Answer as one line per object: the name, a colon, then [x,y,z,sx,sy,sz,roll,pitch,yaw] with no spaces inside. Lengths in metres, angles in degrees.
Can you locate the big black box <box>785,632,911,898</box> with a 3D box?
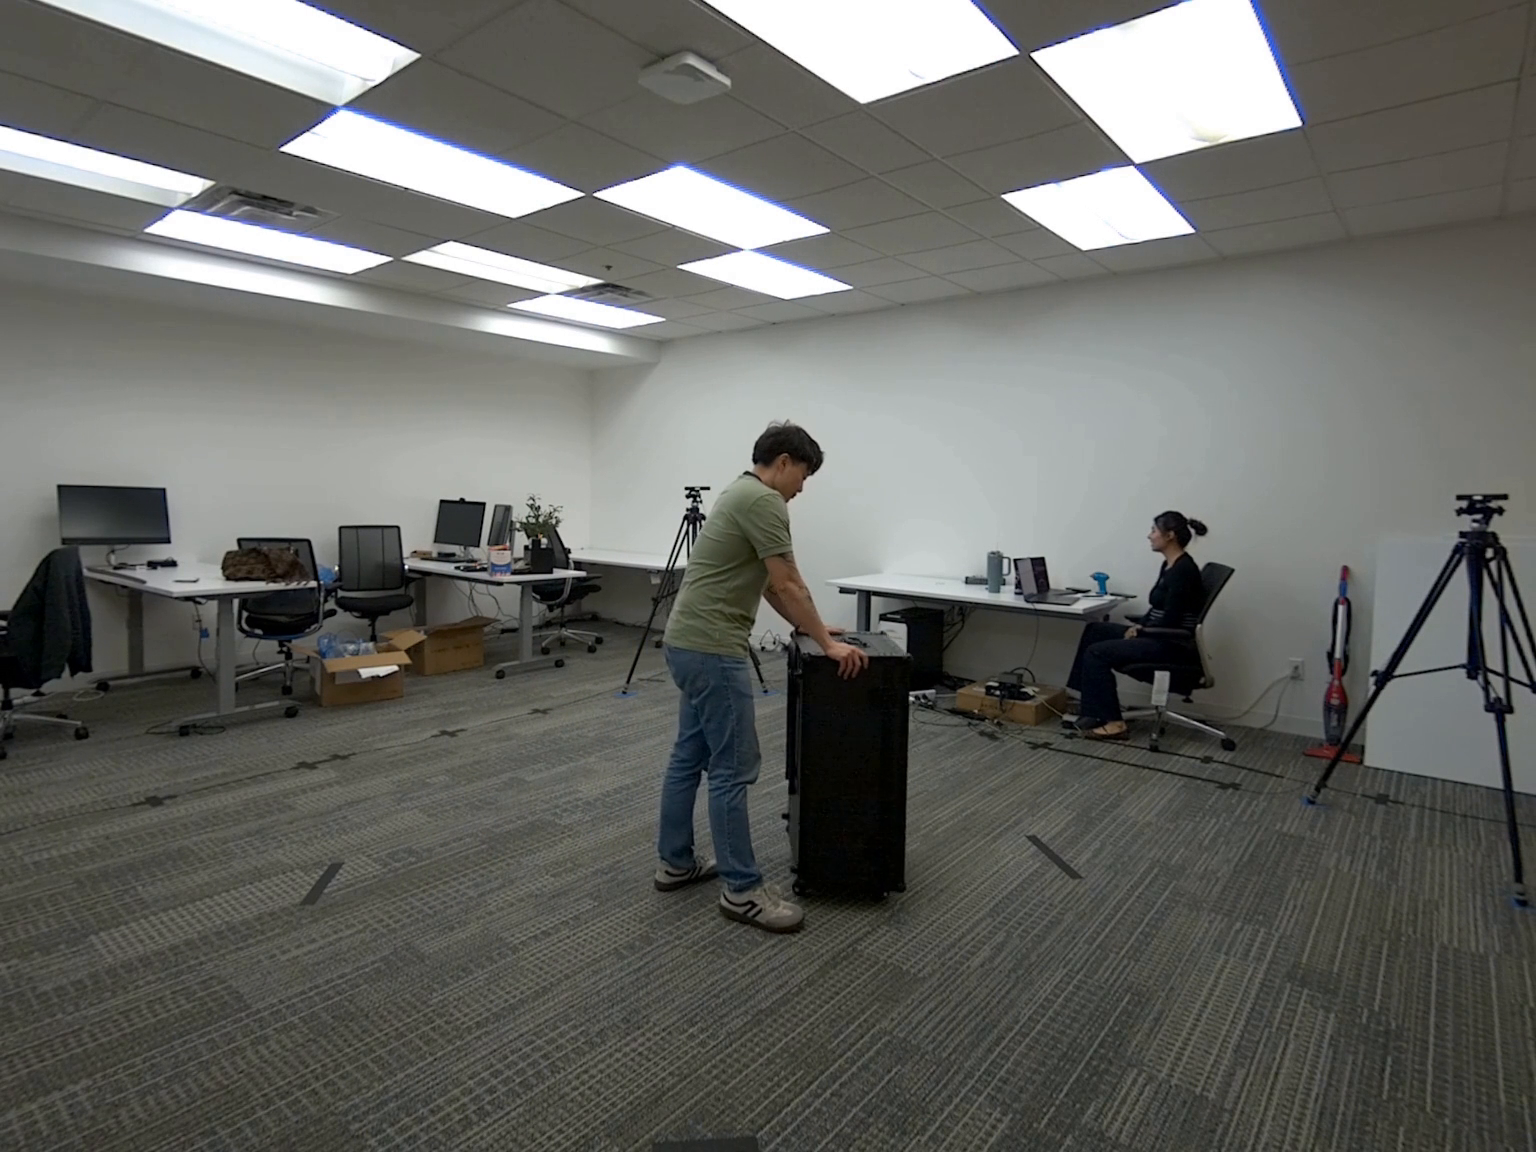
big black box: [0.258,0.664,3.017,0.396,0.859,0.523,0,4,-1]
